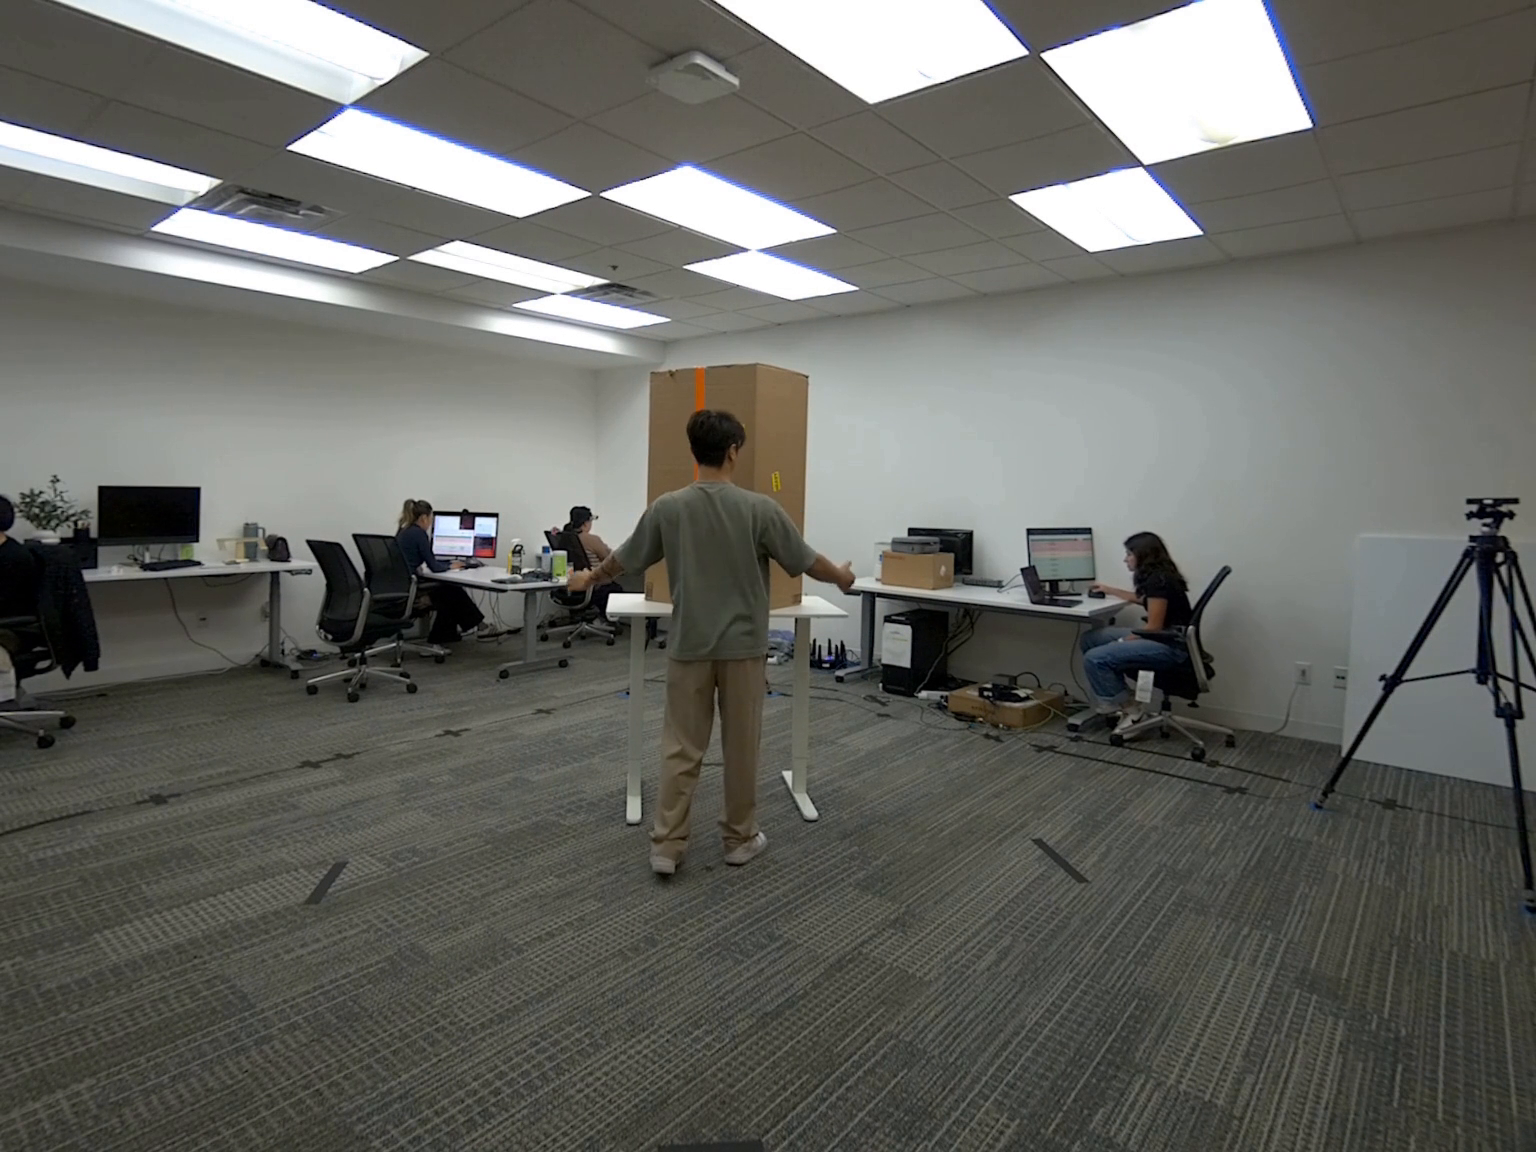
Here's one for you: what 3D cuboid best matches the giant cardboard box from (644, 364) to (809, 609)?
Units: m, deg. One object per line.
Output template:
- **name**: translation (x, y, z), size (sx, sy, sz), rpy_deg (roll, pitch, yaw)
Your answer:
- **giant cardboard box**: translation (-0.198, -0.393, 3.786), size (0.596, 1.022, 0.414), rpy_deg (4, 5, 34)
